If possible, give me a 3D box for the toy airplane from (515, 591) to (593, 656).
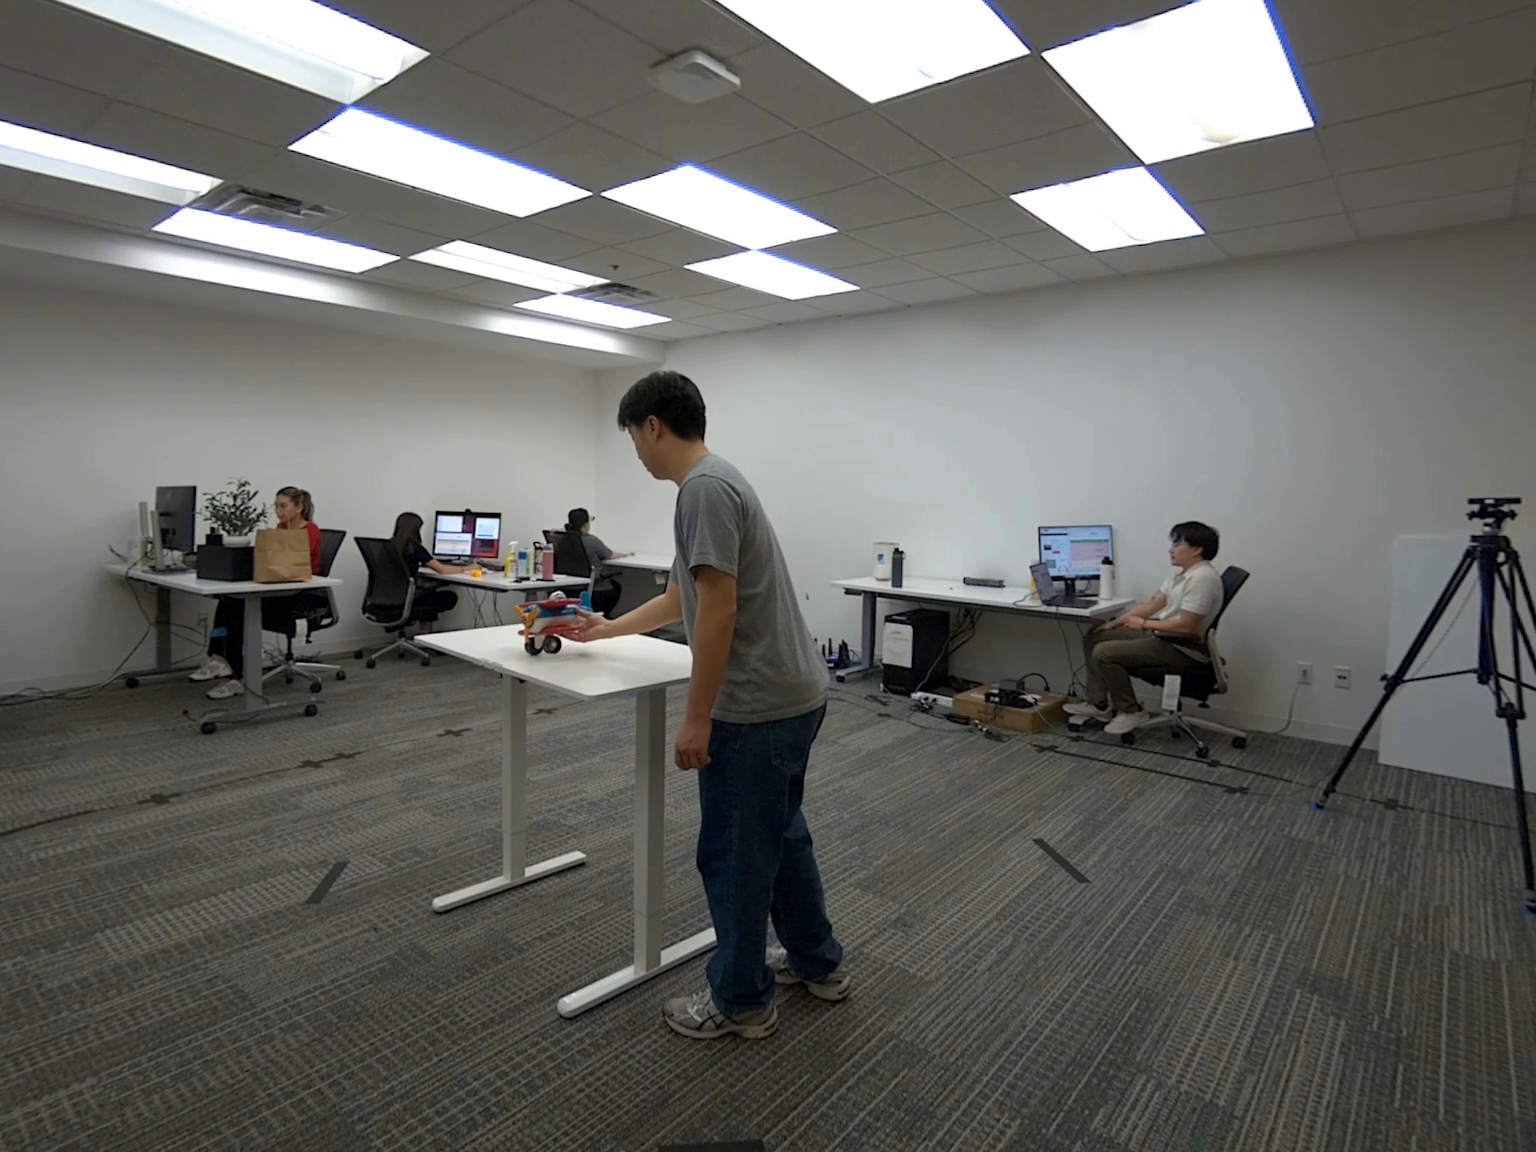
[{"bbox_3d":[-0.655,0.131,2.577,0.253,0.155,0.259,-12,9,10],"label":"toy airplane"}]
